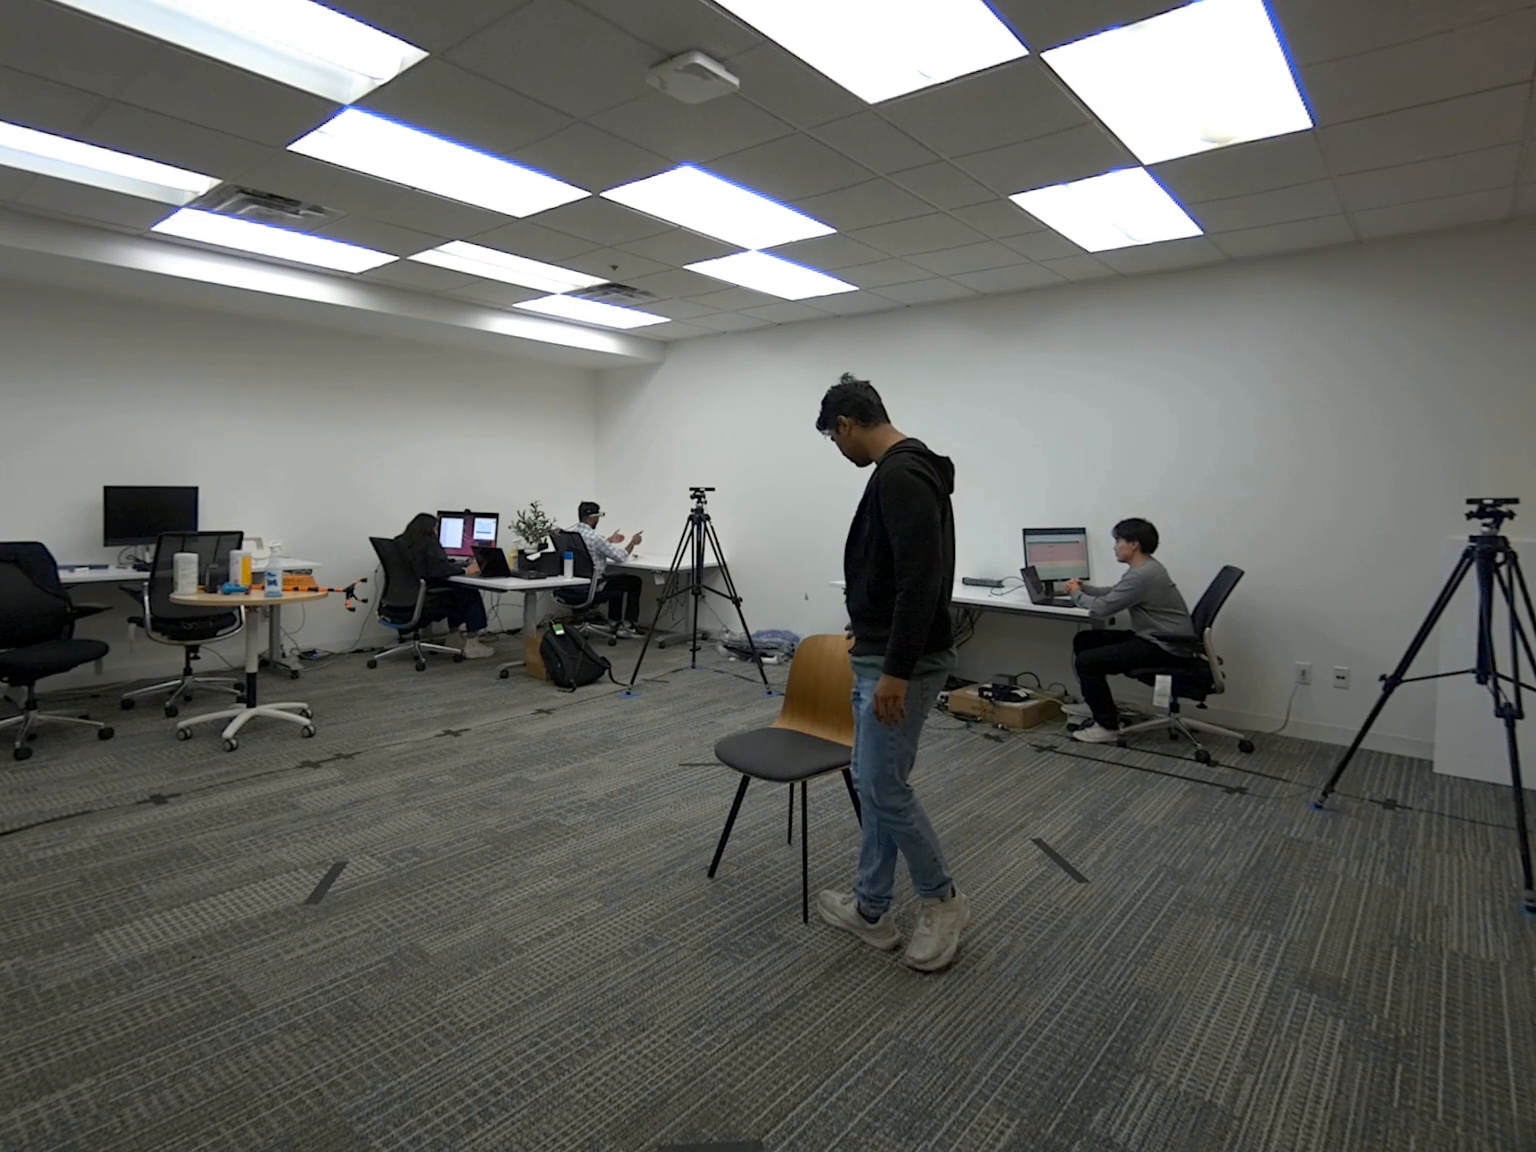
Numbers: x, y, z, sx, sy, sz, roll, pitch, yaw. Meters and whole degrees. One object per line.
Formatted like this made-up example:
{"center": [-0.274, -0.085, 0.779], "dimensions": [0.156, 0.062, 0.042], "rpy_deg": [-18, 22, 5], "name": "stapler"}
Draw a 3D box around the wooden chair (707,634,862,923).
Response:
{"center": [0.094, 0.655, 3.012], "dimensions": [0.494, 0.877, 0.505], "rpy_deg": [5, 1, 43], "name": "wooden chair"}
